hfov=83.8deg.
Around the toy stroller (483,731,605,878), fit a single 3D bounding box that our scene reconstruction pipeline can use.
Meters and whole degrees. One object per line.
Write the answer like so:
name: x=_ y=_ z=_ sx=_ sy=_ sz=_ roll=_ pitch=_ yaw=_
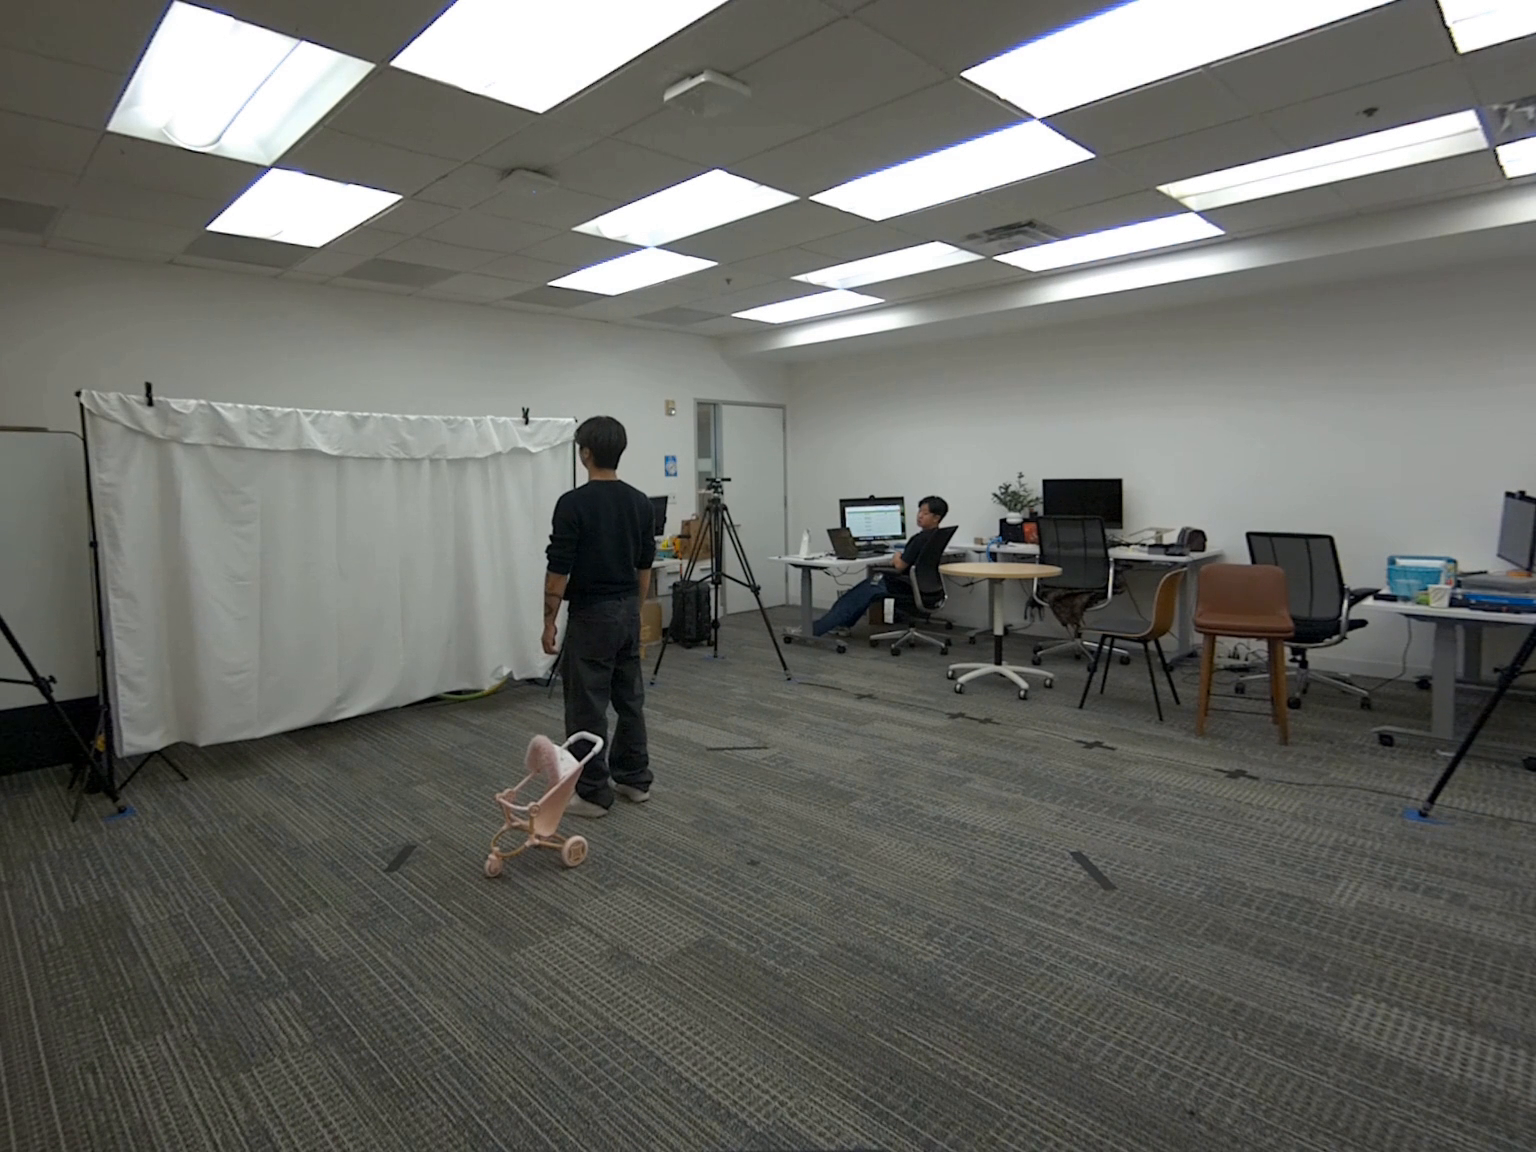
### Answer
toy stroller: x=-0.844 y=0.830 z=3.151 sx=0.330 sy=0.537 sz=0.290 roll=16 pitch=-8 yaw=-37
